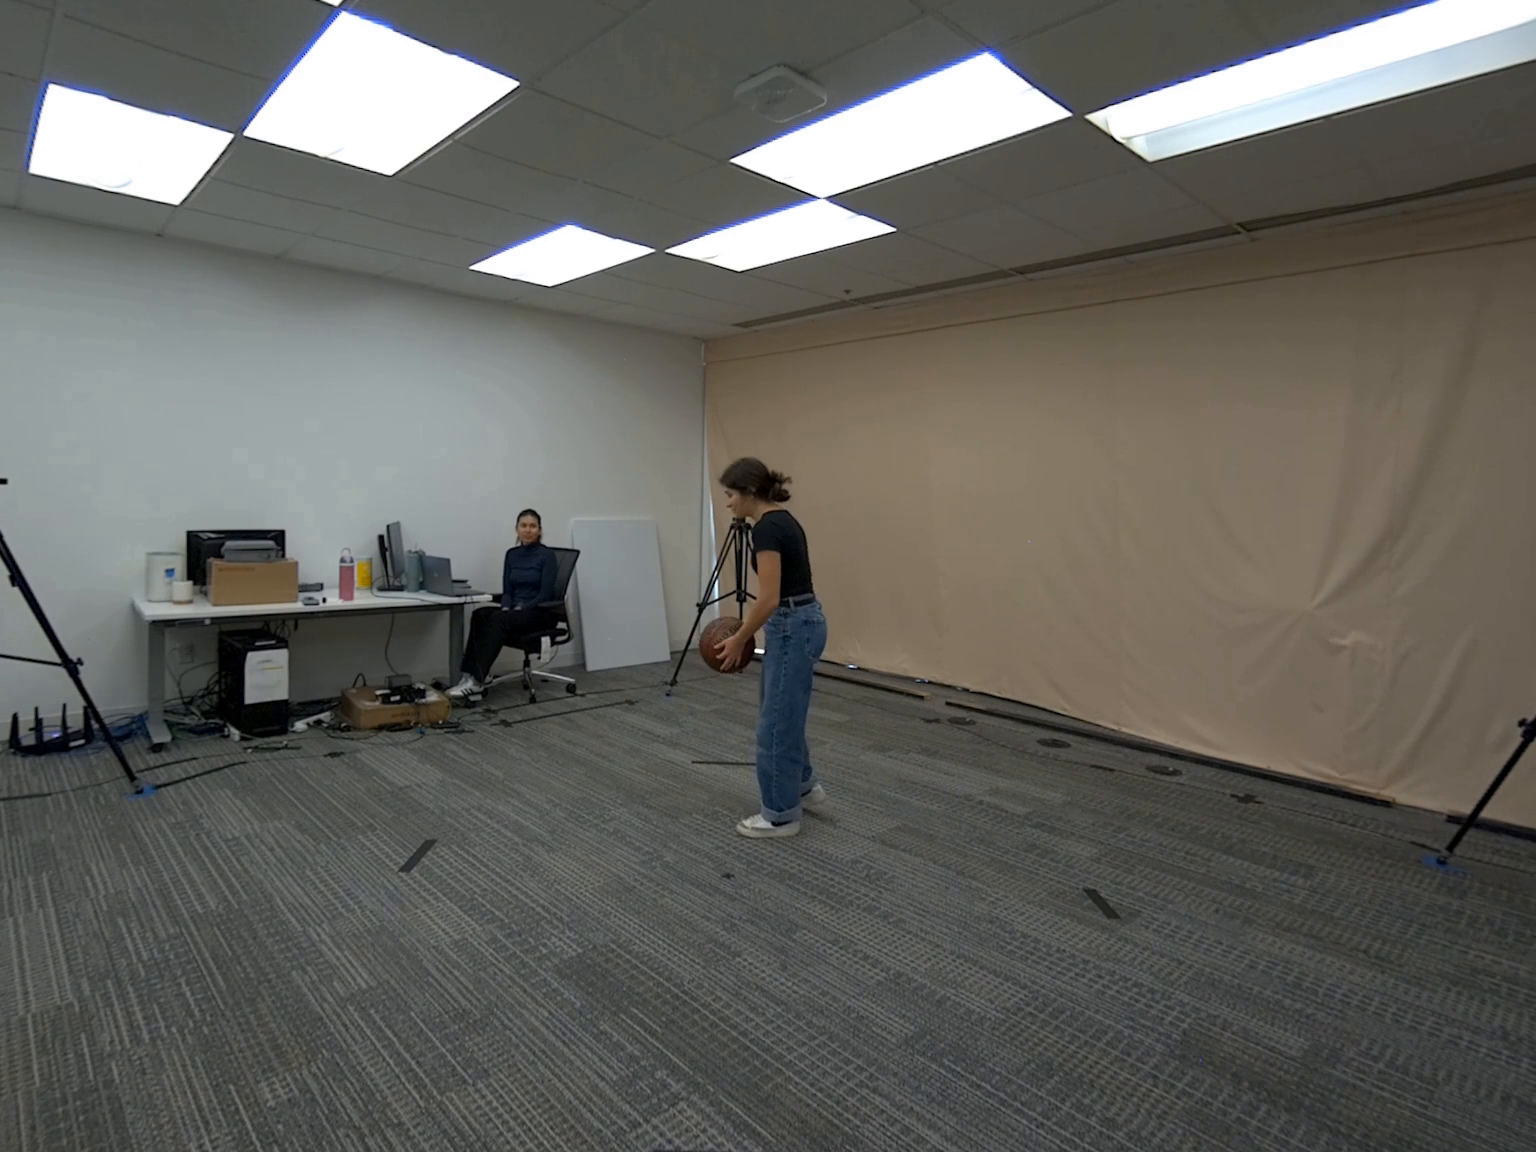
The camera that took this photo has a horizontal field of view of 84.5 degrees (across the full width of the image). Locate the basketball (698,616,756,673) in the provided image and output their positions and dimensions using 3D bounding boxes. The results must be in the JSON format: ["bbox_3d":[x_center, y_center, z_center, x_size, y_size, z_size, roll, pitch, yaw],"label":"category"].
[{"bbox_3d":[-0.180,0.296,3.548,0.236,0.235,0.237,1,4,-1],"label":"basketball"}]
